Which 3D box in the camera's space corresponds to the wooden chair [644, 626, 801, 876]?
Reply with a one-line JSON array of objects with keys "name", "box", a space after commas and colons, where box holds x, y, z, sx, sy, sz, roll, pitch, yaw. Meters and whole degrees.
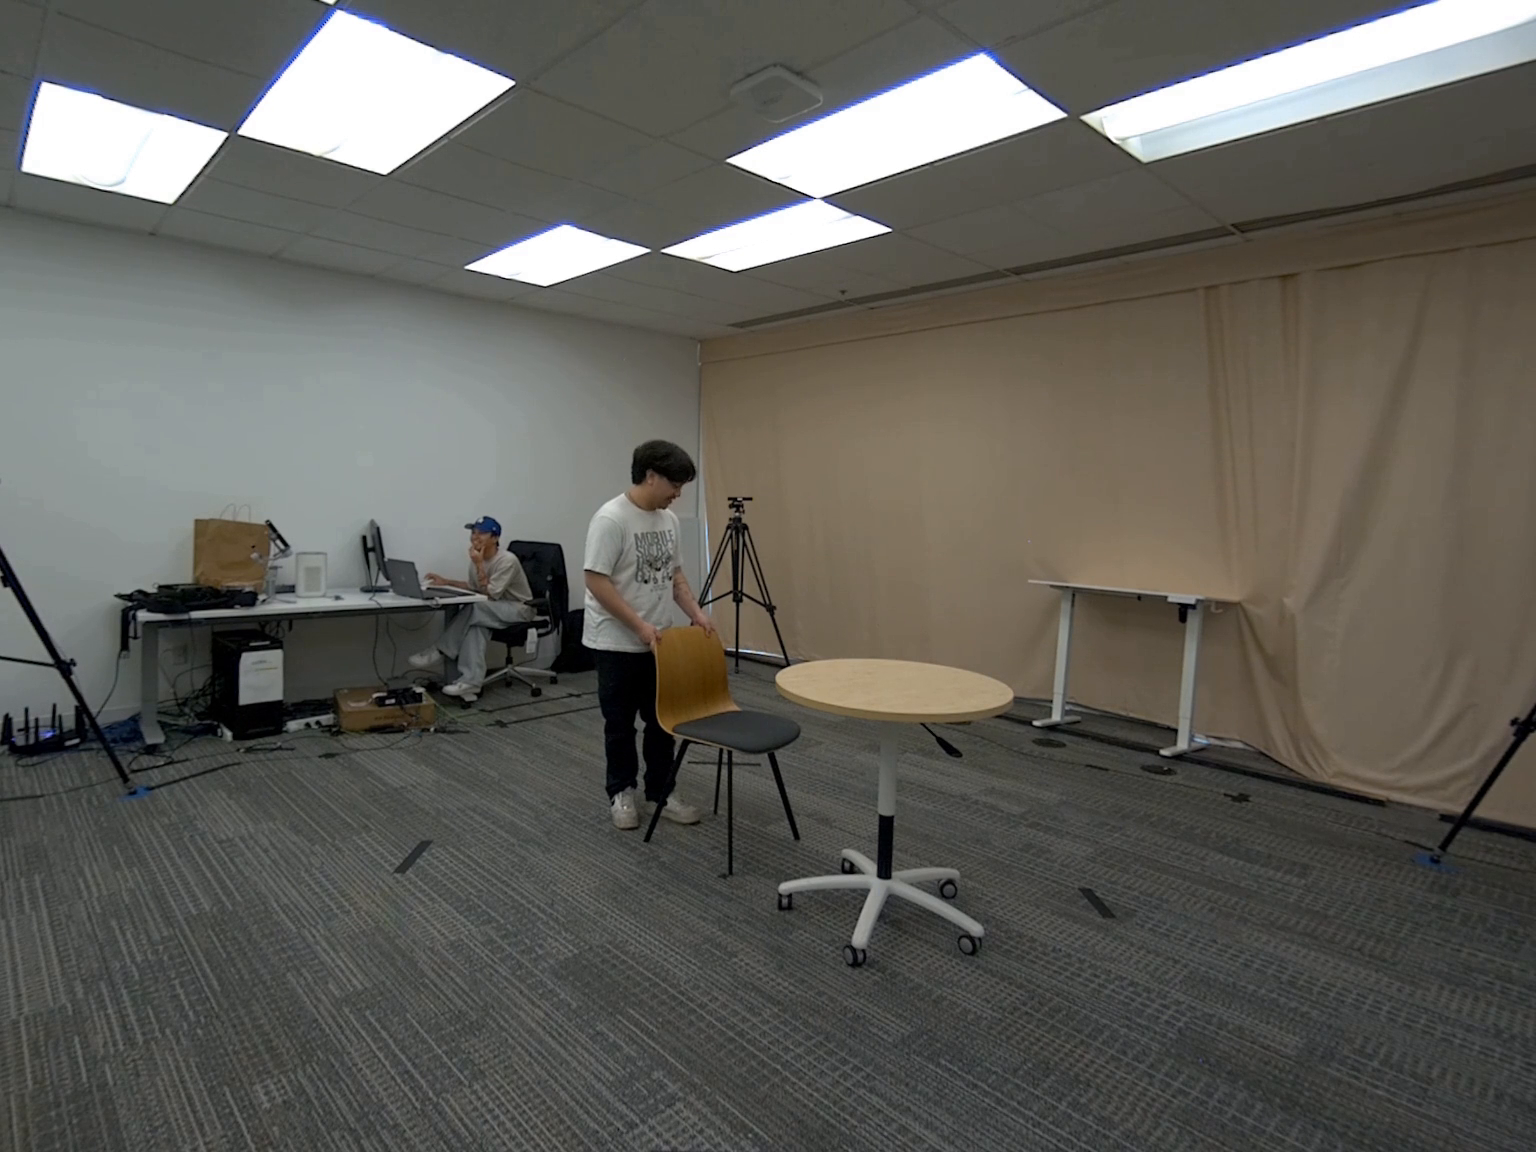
[{"name": "wooden chair", "box": [-0.173, 0.654, 3.389, 0.535, 0.878, 0.467, -2, 0, 38]}]
